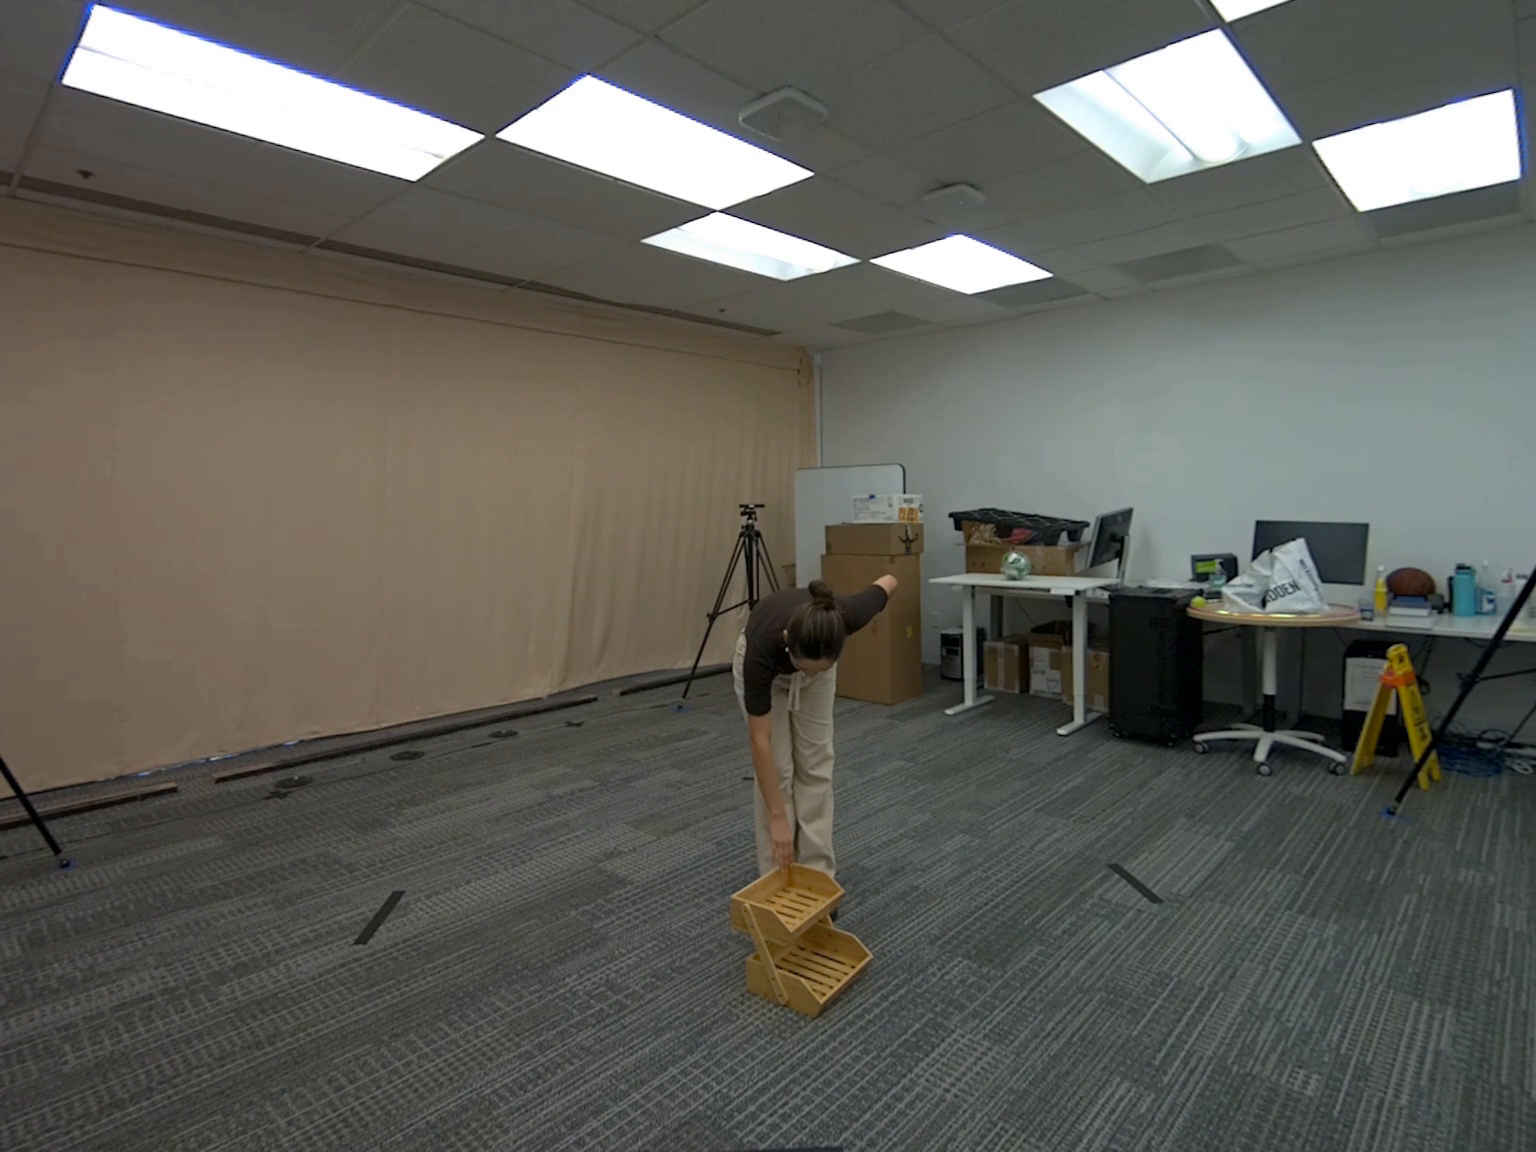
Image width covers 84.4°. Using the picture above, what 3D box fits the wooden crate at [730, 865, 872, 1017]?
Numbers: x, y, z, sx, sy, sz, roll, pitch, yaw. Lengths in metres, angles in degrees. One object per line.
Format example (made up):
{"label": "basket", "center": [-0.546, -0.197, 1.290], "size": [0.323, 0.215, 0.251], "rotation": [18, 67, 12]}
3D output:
{"label": "wooden crate", "center": [0.104, 1.042, 2.470], "size": [0.311, 0.273, 0.315], "rotation": [1, 4, 36]}
